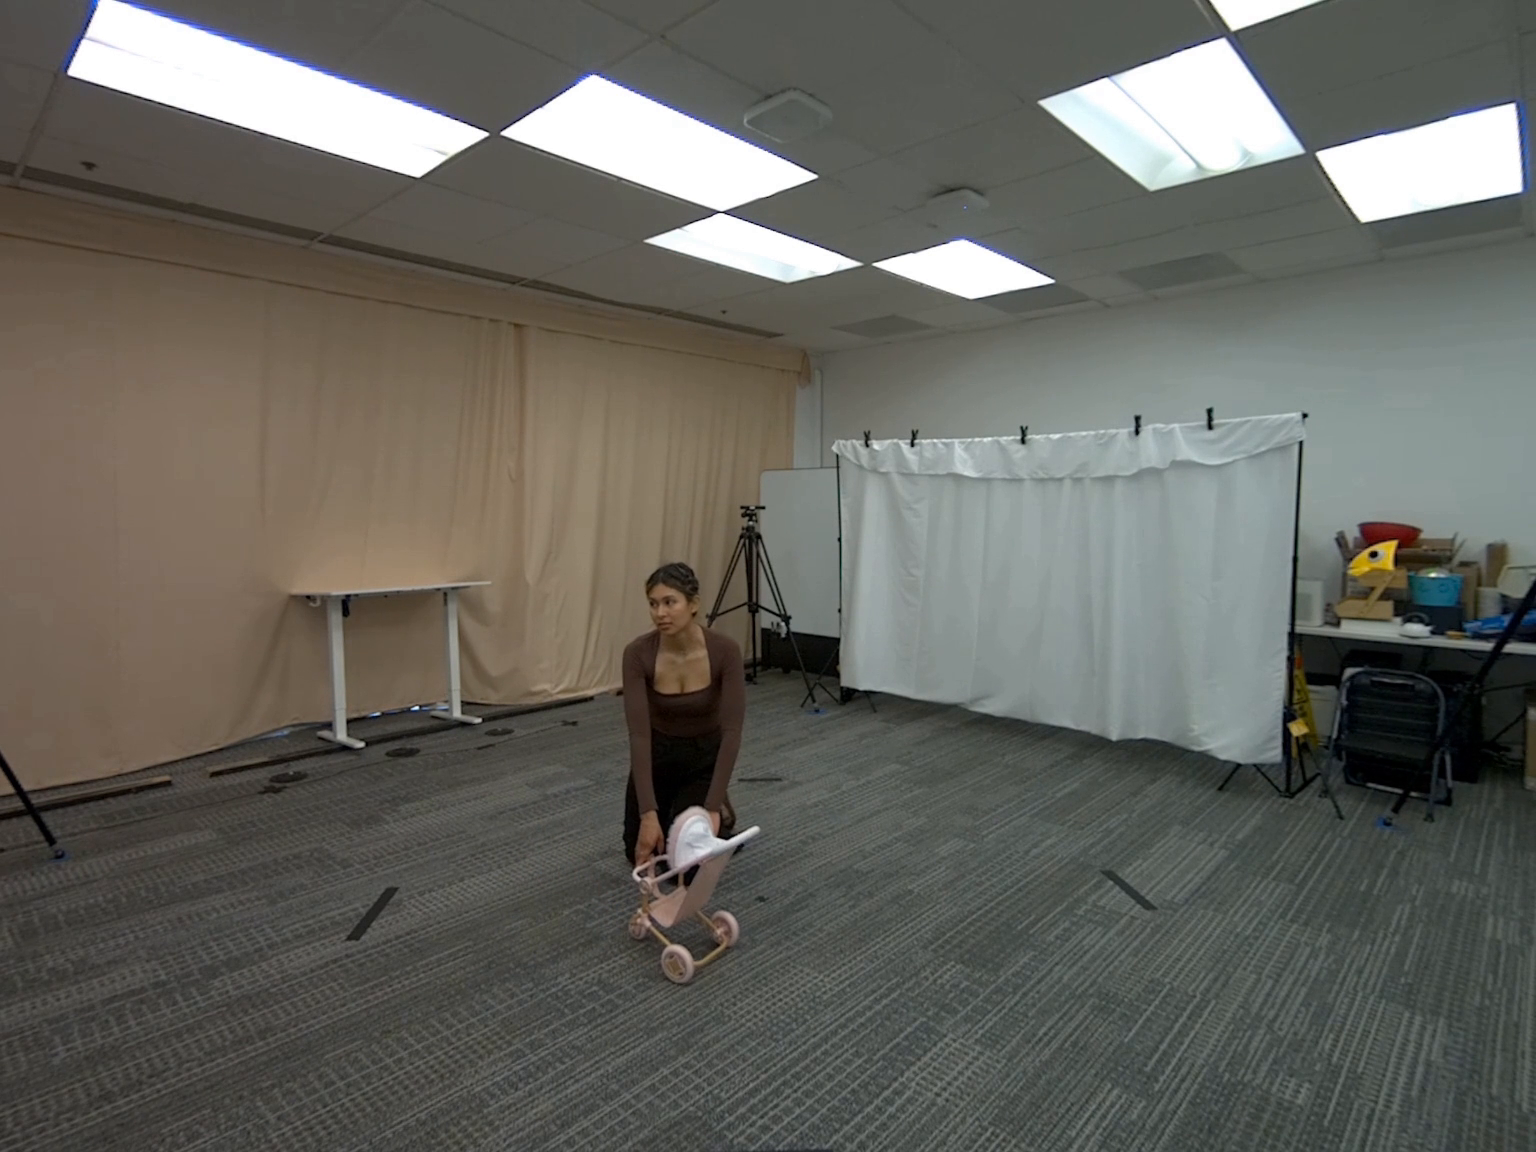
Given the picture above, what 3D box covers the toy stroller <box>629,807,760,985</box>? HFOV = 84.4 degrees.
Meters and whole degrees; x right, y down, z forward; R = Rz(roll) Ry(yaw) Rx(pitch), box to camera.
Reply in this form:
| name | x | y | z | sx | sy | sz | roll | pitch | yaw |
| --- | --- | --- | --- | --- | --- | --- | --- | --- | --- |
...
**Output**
| name | x | y | z | sx | sy | sz | roll | pitch | yaw |
| --- | --- | --- | --- | --- | --- | --- | --- | --- | --- |
| toy stroller | -0.257 | 0.949 | 2.601 | 0.353 | 0.532 | 0.273 | 21 | 14 | 35 |
